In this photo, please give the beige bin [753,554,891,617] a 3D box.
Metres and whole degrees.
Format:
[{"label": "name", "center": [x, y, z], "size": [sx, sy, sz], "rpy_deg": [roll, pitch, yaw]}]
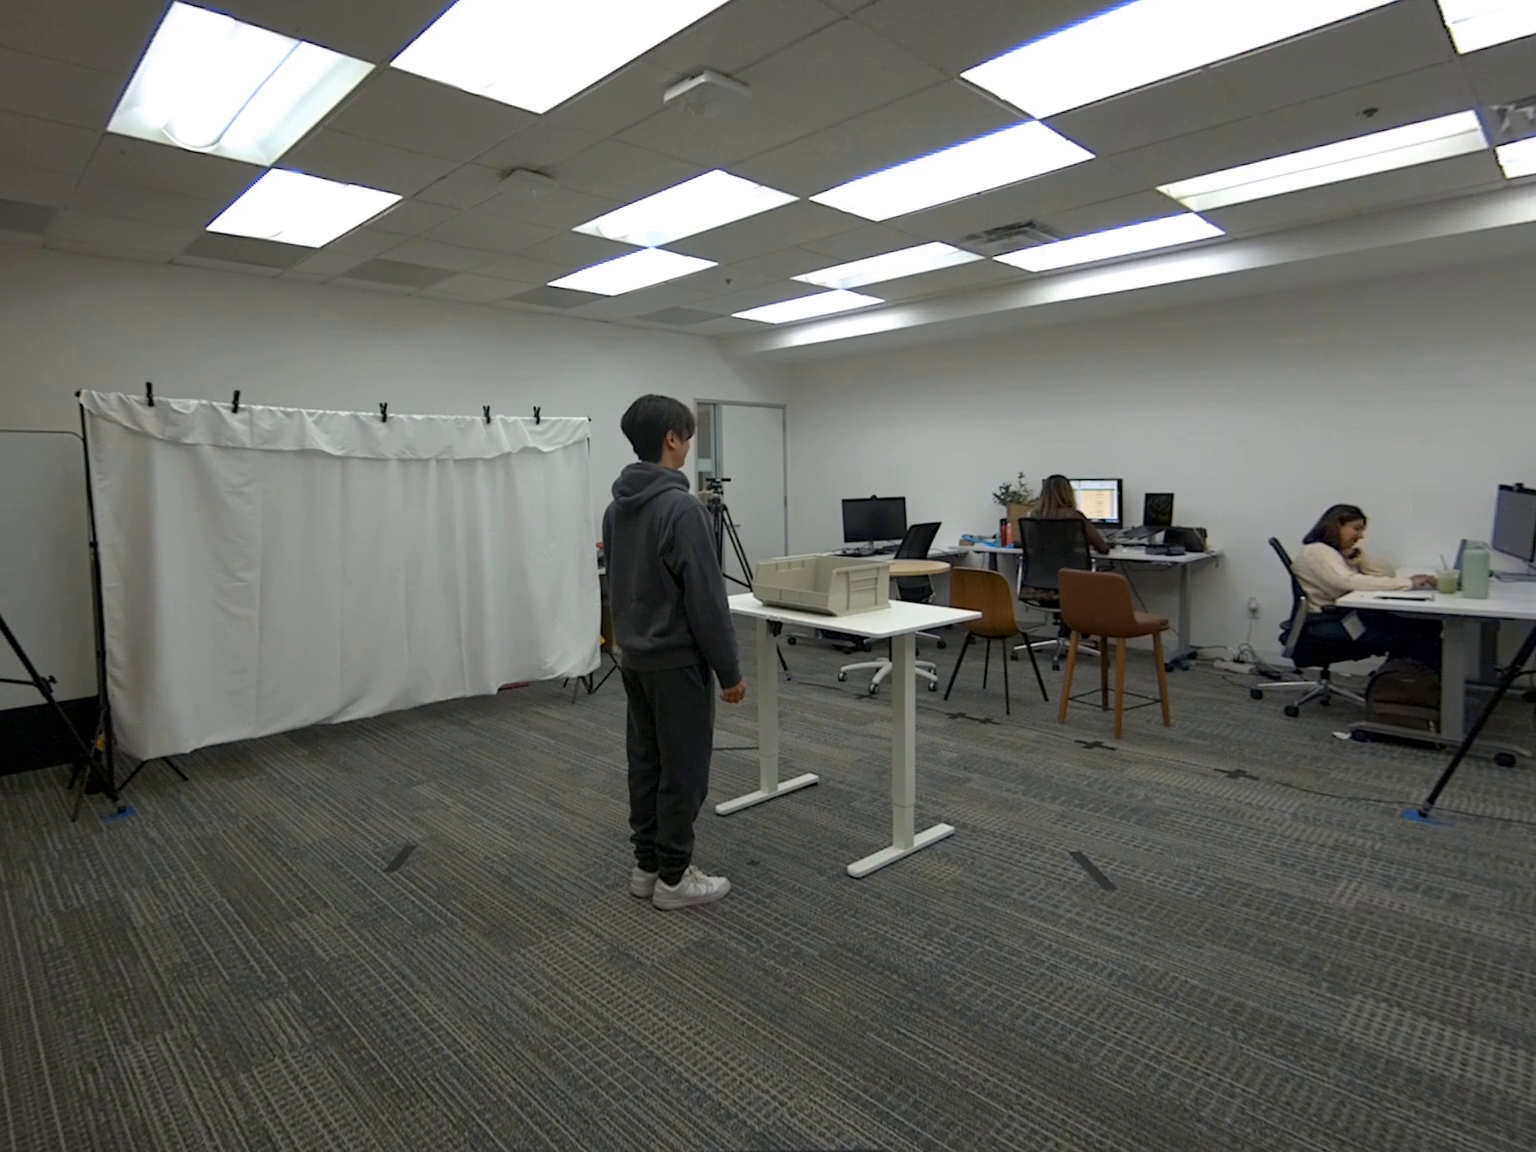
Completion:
[{"label": "beige bin", "center": [0.217, 0.035, 3.378], "size": [0.367, 0.188, 0.435], "rpy_deg": [-6, 8, -42]}]
